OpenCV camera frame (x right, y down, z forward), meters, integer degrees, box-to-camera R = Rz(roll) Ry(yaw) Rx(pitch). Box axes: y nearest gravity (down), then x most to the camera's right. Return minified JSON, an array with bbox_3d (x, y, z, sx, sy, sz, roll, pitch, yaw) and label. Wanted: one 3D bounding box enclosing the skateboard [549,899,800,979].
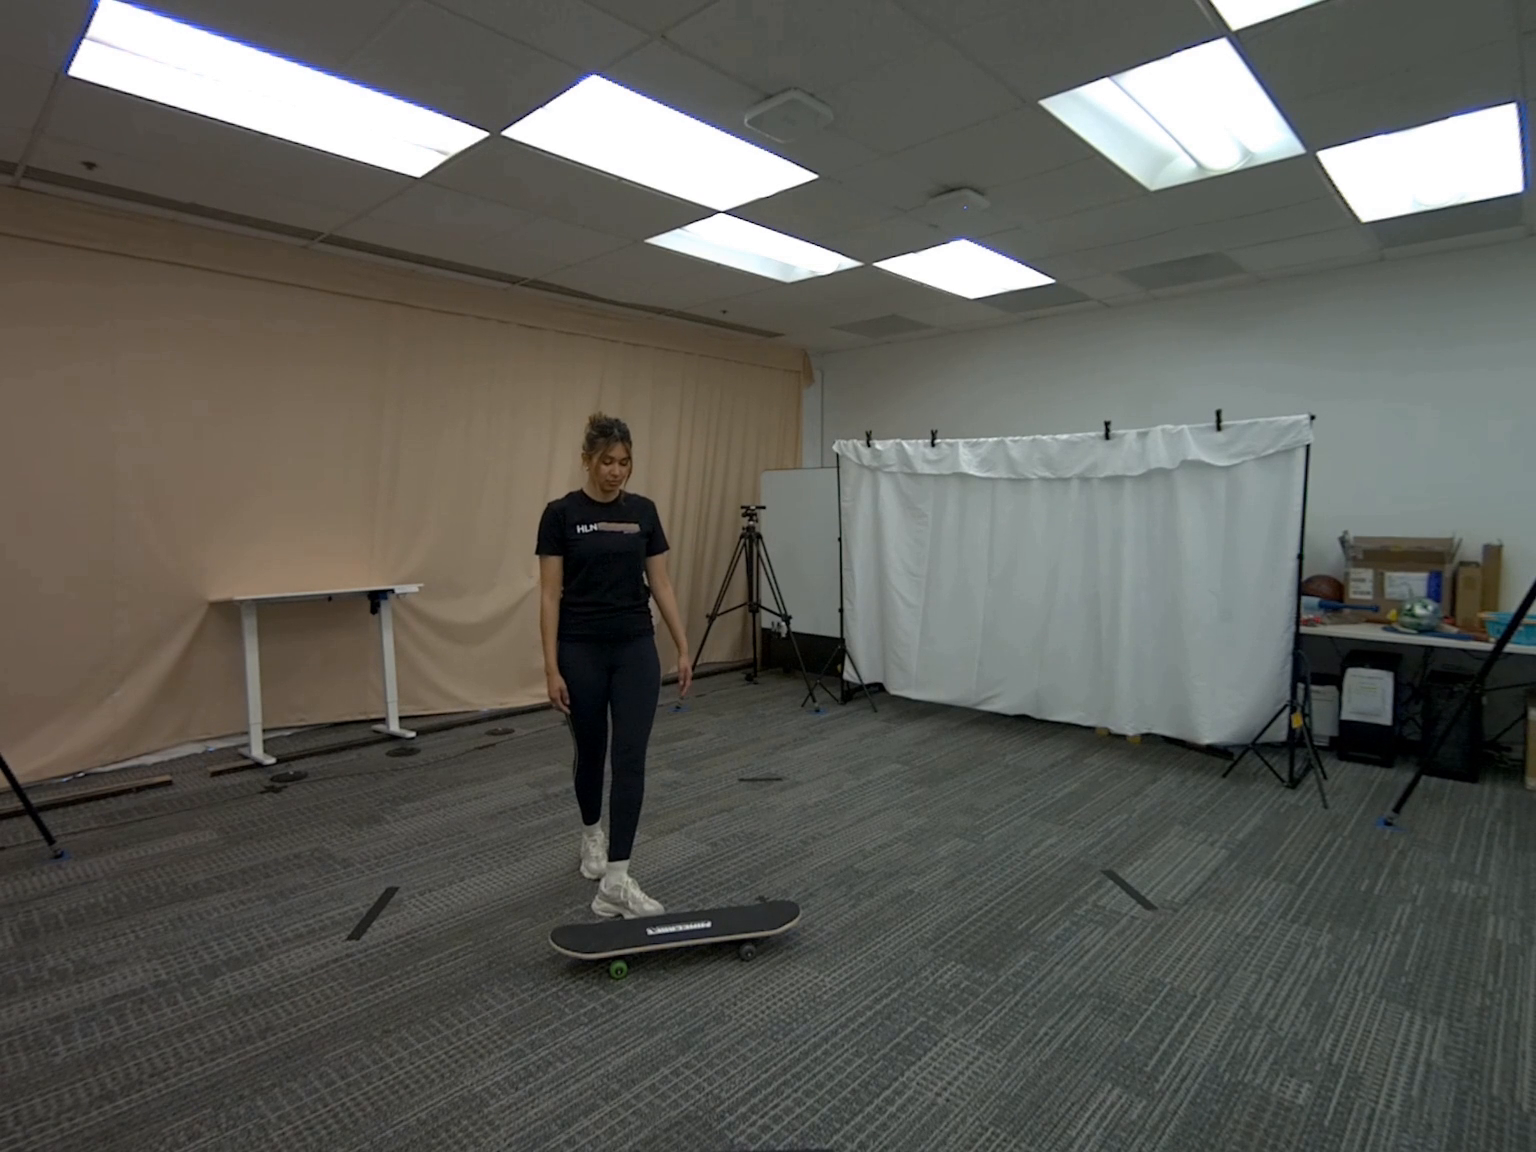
[{"bbox_3d":[-0.266,1.123,2.599,0.774,0.110,0.197,-1,5,-14],"label":"skateboard"}]
